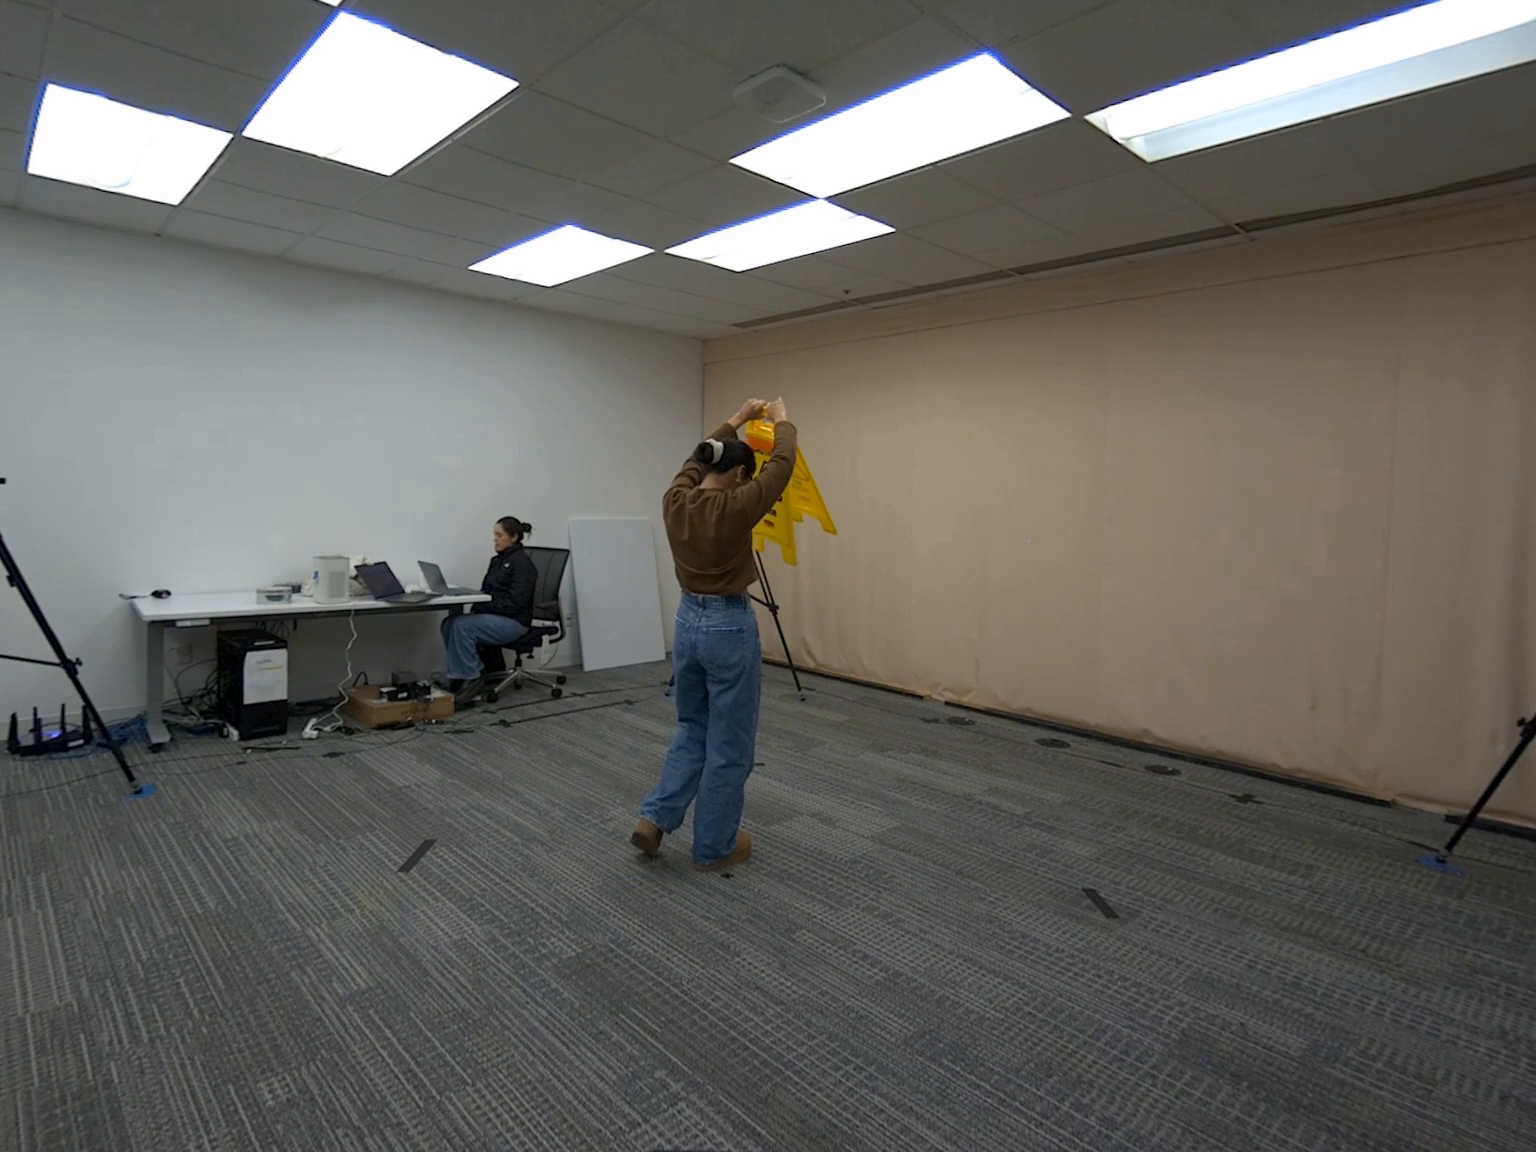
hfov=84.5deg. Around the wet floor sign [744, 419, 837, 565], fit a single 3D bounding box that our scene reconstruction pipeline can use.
[{"bbox_3d":[0.041,-0.409,3.500,0.288,0.630,0.291,-34,37,-29],"label":"wet floor sign"}]
